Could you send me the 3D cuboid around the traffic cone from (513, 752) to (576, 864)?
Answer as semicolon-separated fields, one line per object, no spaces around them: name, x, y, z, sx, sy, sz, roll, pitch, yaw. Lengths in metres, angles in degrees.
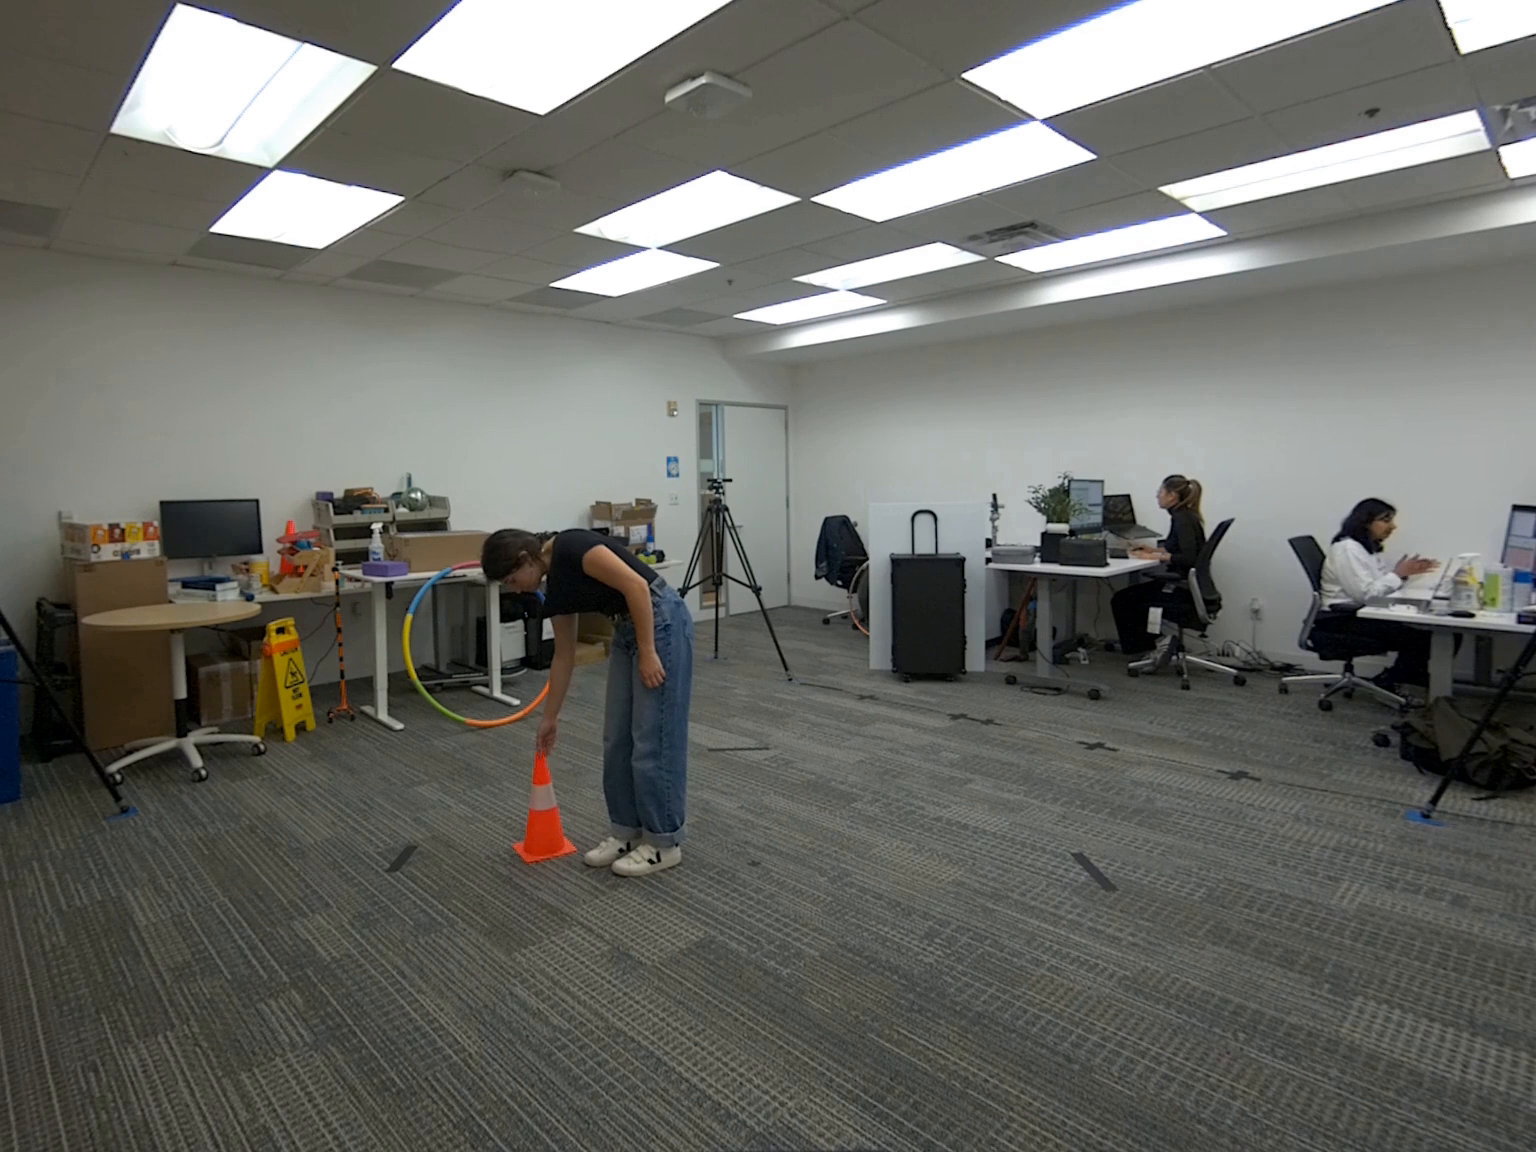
traffic cone;-0.856;0.856;3.269;0.198;0.383;0.210;-2;3;-29
